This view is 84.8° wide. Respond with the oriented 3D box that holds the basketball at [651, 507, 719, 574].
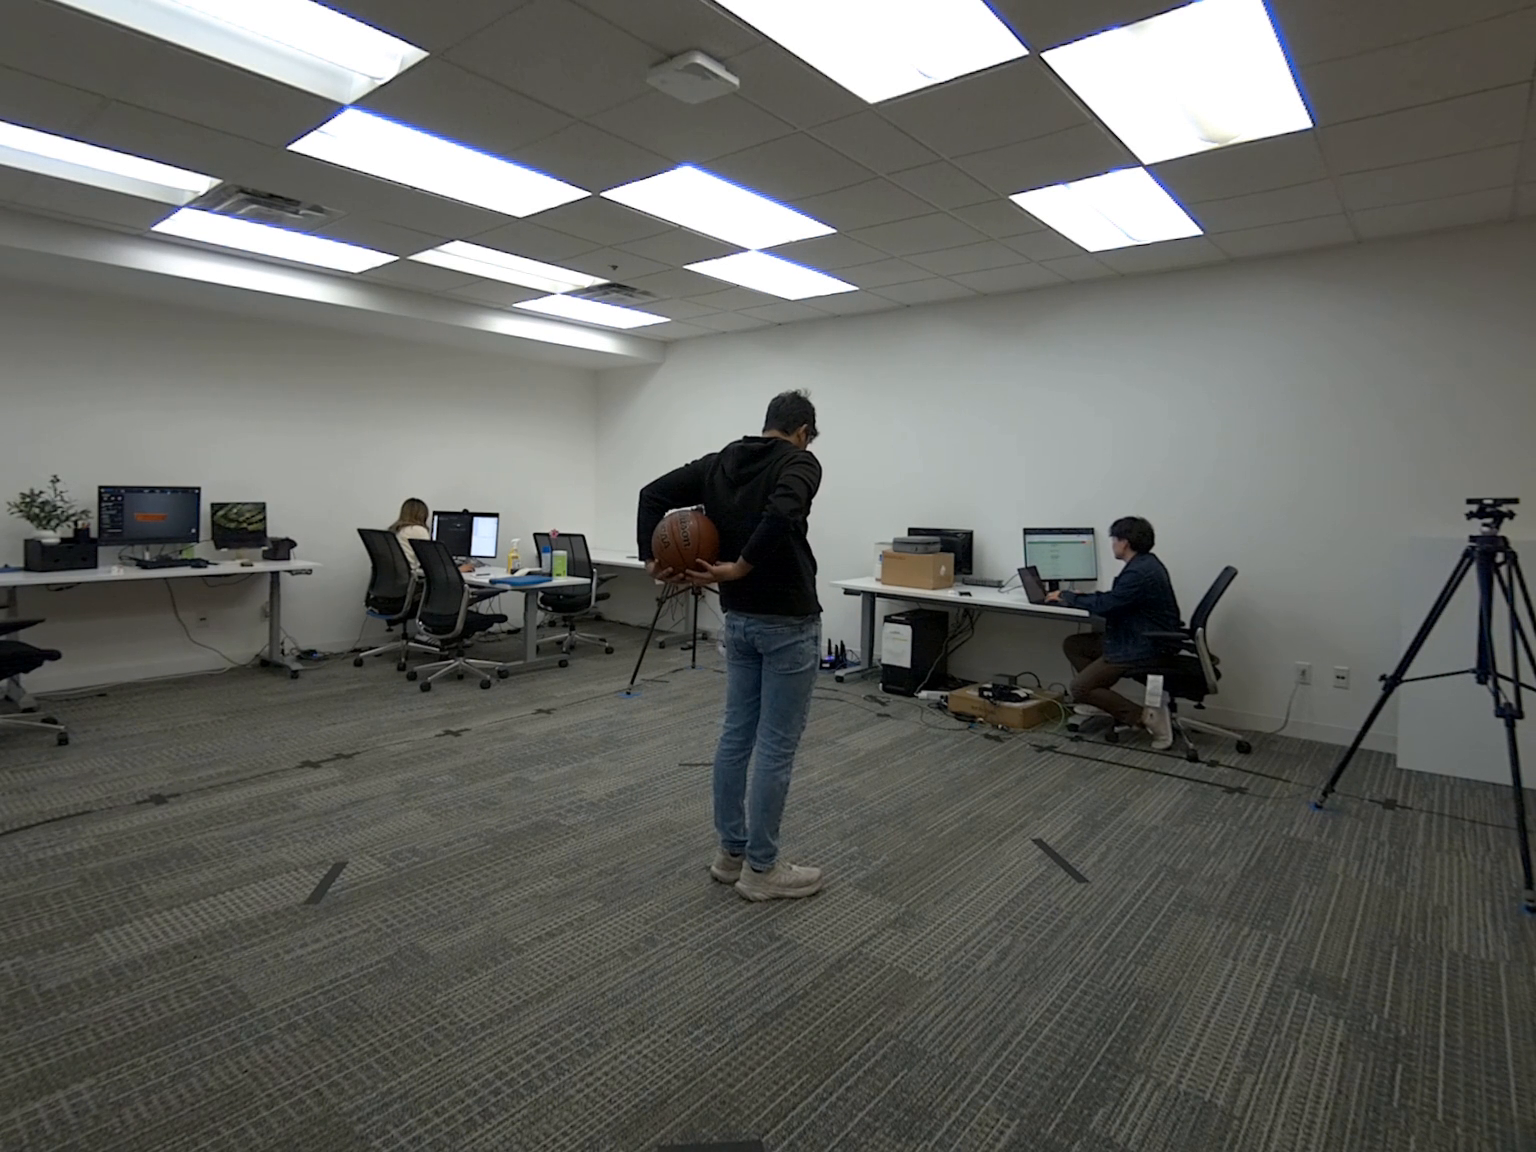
[{"bbox_3d":[-0.284,-0.108,2.945,0.235,0.235,0.237,1,4,-2],"label":"basketball"}]
